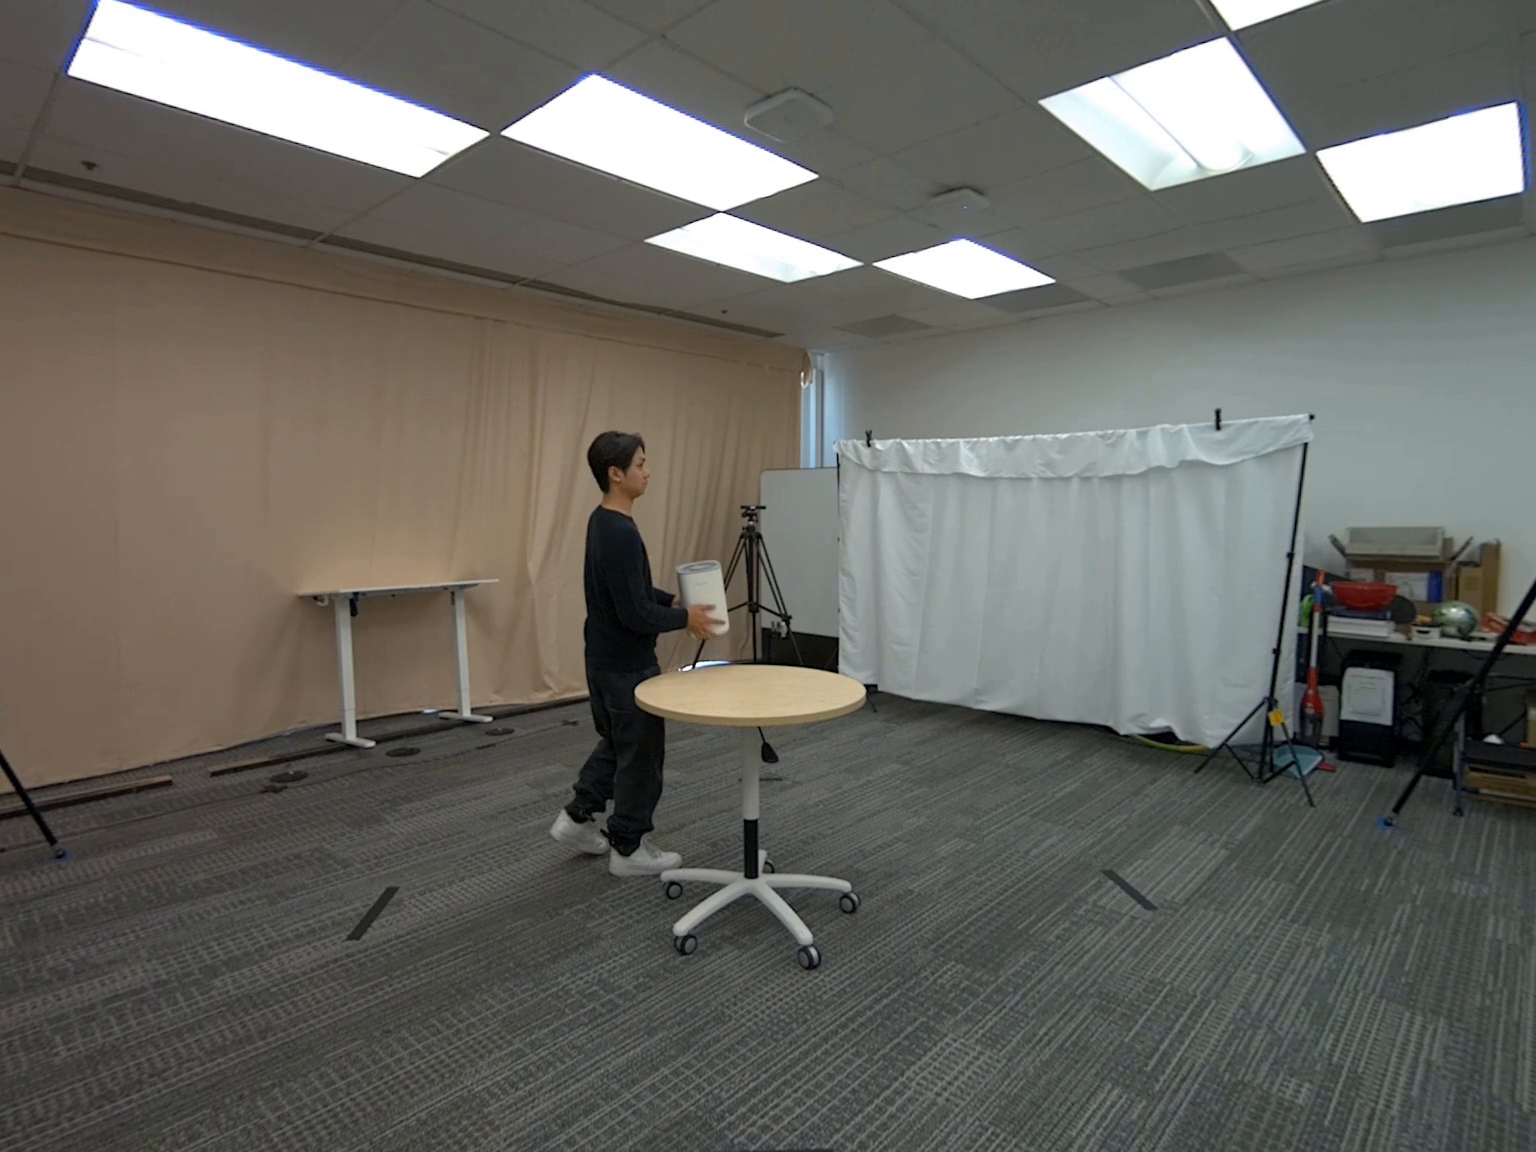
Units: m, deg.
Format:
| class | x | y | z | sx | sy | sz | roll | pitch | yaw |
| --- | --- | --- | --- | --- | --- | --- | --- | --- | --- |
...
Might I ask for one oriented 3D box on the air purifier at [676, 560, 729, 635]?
| class | x | y | z | sx | sy | sz | roll | pitch | yaw |
| --- | --- | --- | --- | --- | --- | --- | --- | --- | --- |
| air purifier | -0.253 | 0.089 | 3.221 | 0.170 | 0.263 | 0.174 | -10 | 9 | -8 |
